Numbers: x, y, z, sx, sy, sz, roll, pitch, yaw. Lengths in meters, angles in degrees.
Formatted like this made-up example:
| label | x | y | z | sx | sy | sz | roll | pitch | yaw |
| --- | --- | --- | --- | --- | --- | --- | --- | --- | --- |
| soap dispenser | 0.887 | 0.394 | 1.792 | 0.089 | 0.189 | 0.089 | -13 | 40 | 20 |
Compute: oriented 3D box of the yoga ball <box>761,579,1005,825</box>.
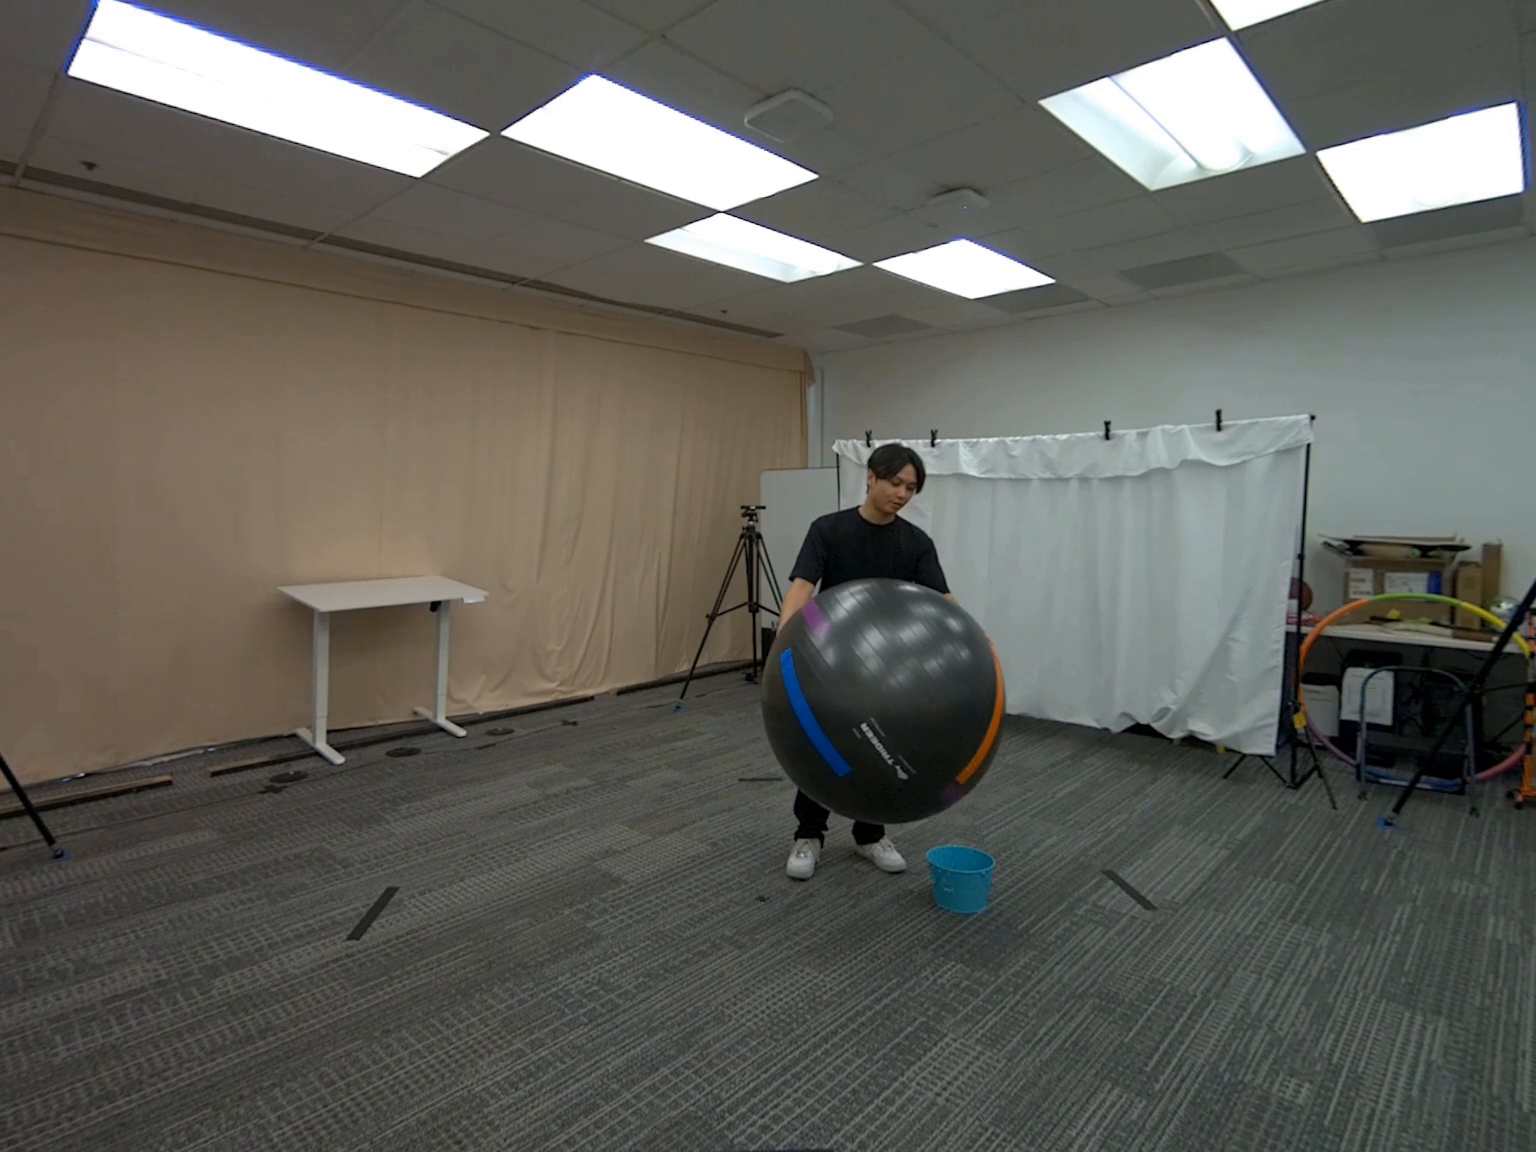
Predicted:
| label | x | y | z | sx | sy | sz | roll | pitch | yaw |
| --- | --- | --- | --- | --- | --- | --- | --- | --- | --- |
| yoga ball | 0.368 | 0.404 | 2.678 | 0.757 | 0.756 | 0.760 | 0 | 4 | -2 |
